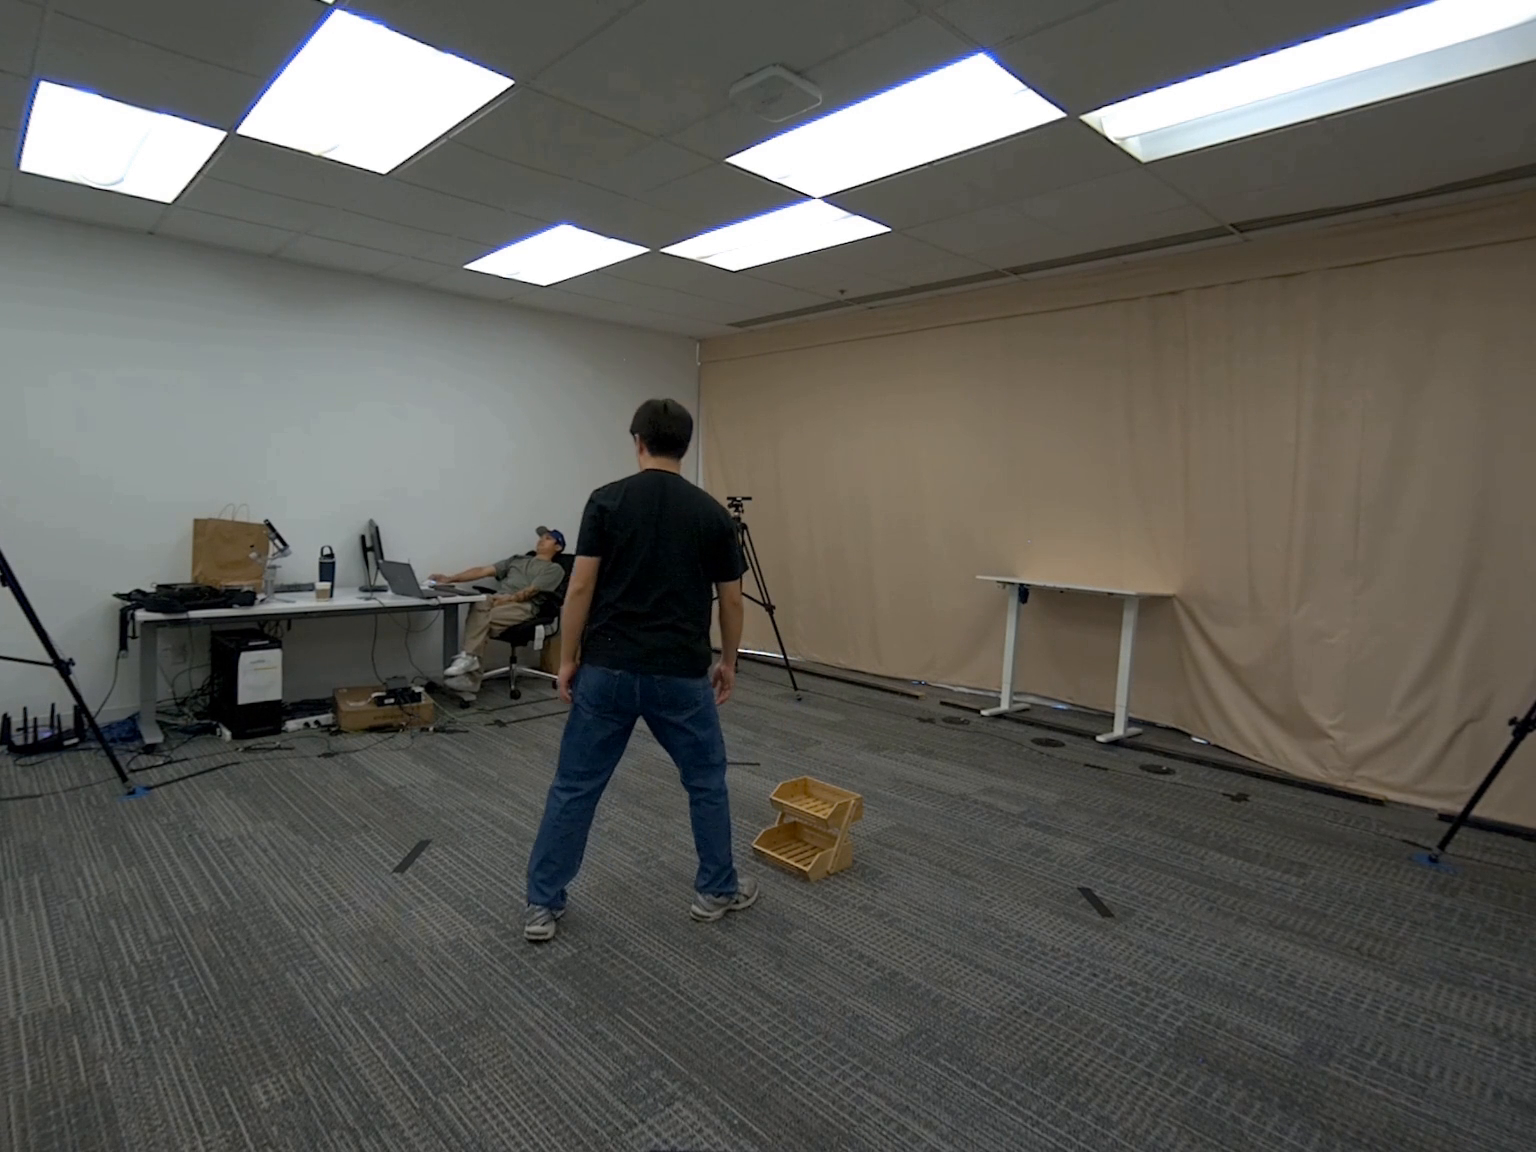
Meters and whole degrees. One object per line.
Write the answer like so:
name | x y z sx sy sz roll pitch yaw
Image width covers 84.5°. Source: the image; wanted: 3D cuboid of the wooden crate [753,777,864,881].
wooden crate | 0.145 0.966 3.258 0.295 0.273 0.333 -2 5 -44
